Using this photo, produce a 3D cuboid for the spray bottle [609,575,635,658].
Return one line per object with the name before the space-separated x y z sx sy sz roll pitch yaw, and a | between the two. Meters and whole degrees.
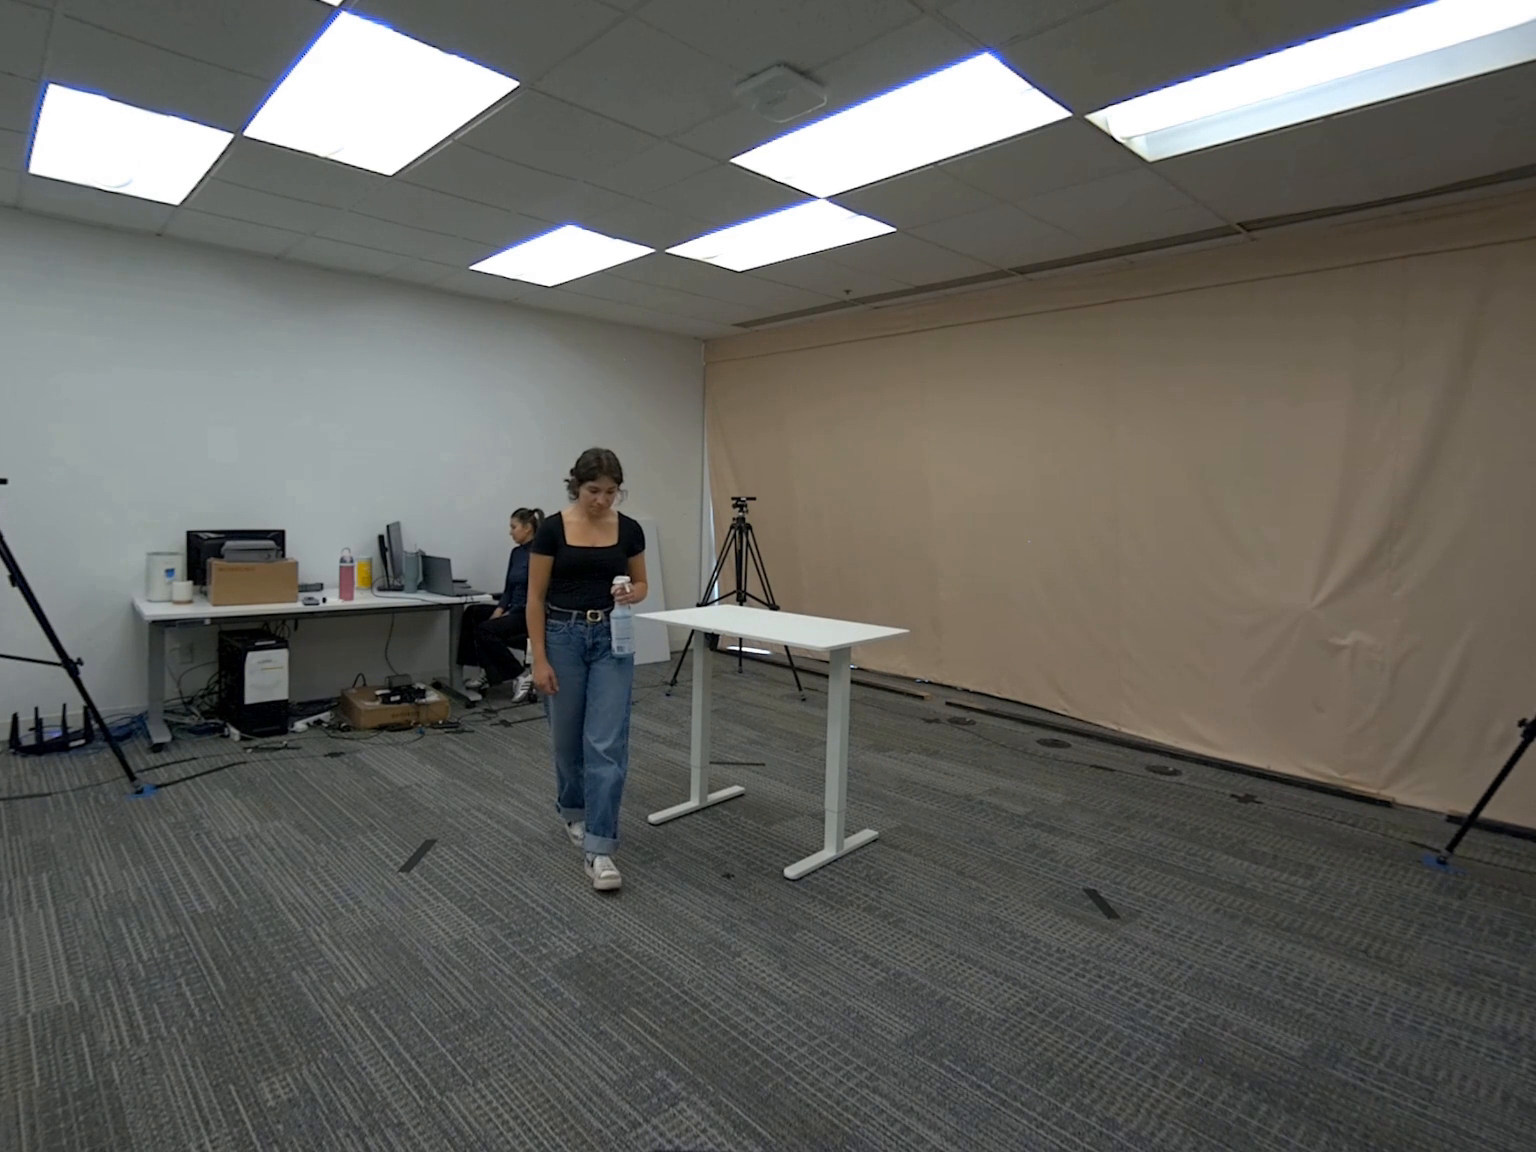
spray bottle | -0.554 0.145 3.084 0.086 0.295 0.092 -5 11 -22
